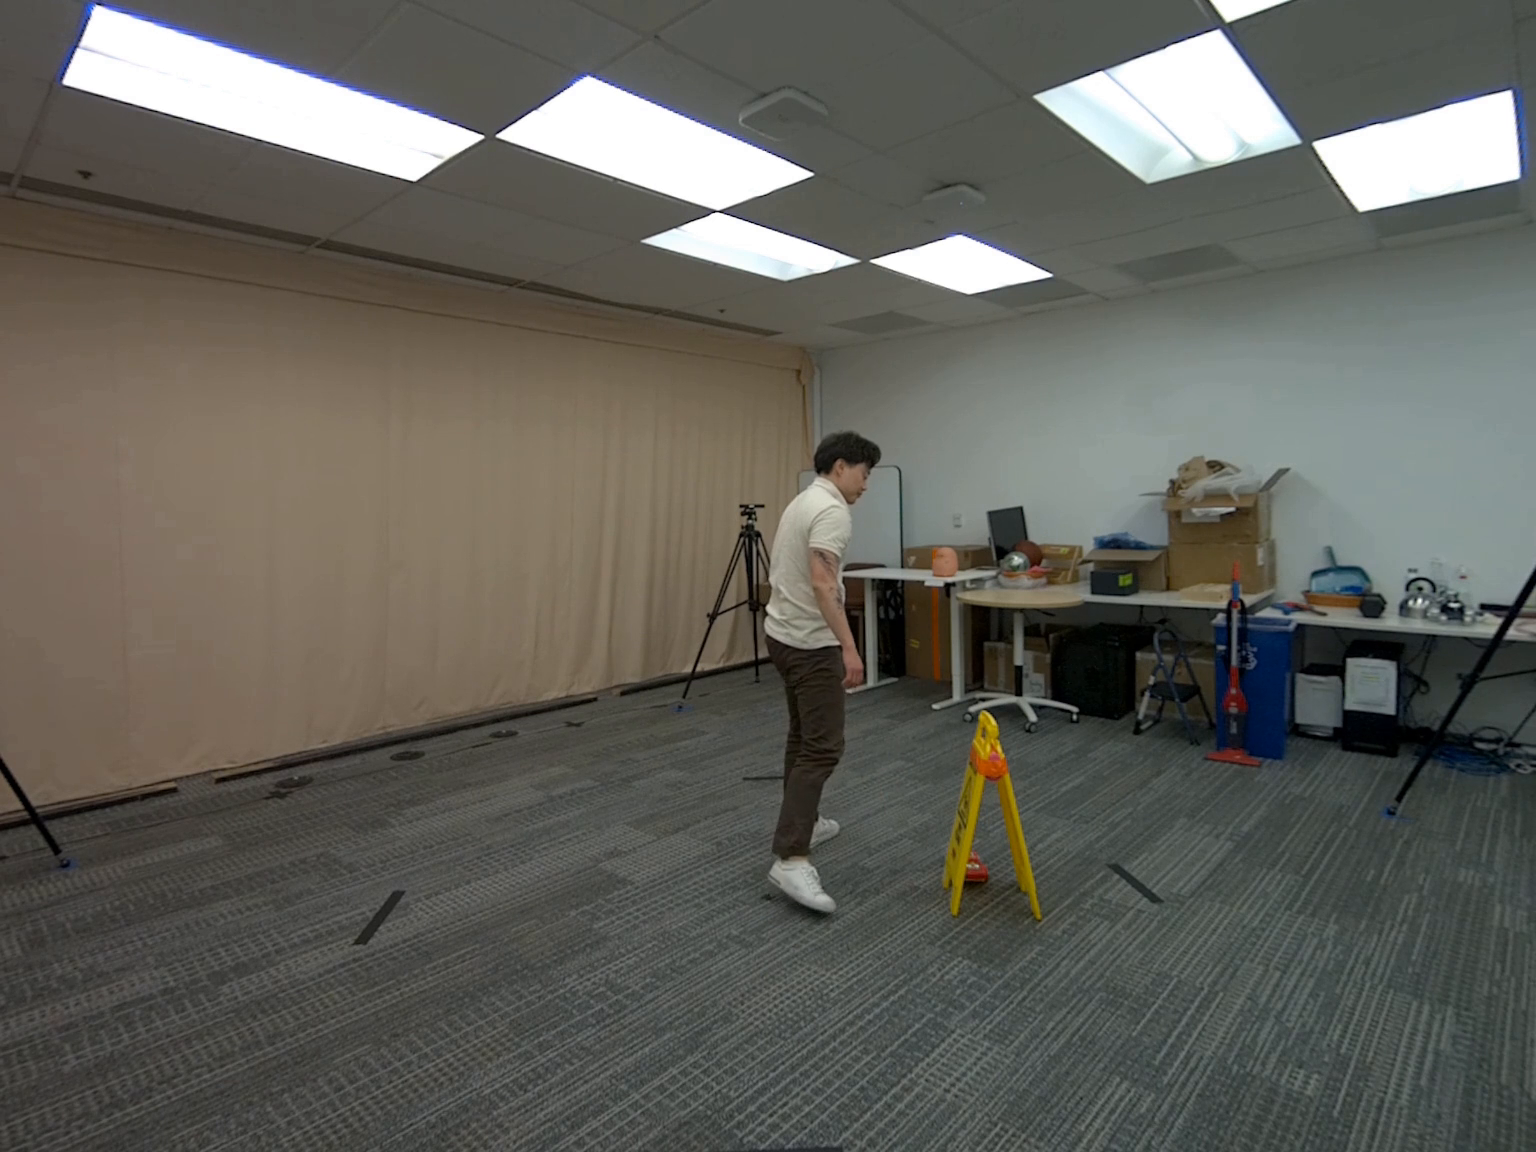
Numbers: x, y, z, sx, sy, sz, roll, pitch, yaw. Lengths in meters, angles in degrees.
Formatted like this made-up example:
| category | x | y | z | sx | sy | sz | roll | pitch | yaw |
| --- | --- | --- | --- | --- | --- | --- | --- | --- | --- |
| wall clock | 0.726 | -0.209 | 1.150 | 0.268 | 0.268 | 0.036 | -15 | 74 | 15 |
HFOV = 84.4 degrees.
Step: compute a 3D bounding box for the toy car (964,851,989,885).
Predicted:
| category | x | y | z | sx | sy | sz | roll | pitch | yaw |
| --- | --- | --- | --- | --- | --- | --- | --- | --- | --- |
| toy car | 0.755 | 1.082 | 3.137 | 0.130 | 0.083 | 0.253 | 0 | -6 | 1 |
